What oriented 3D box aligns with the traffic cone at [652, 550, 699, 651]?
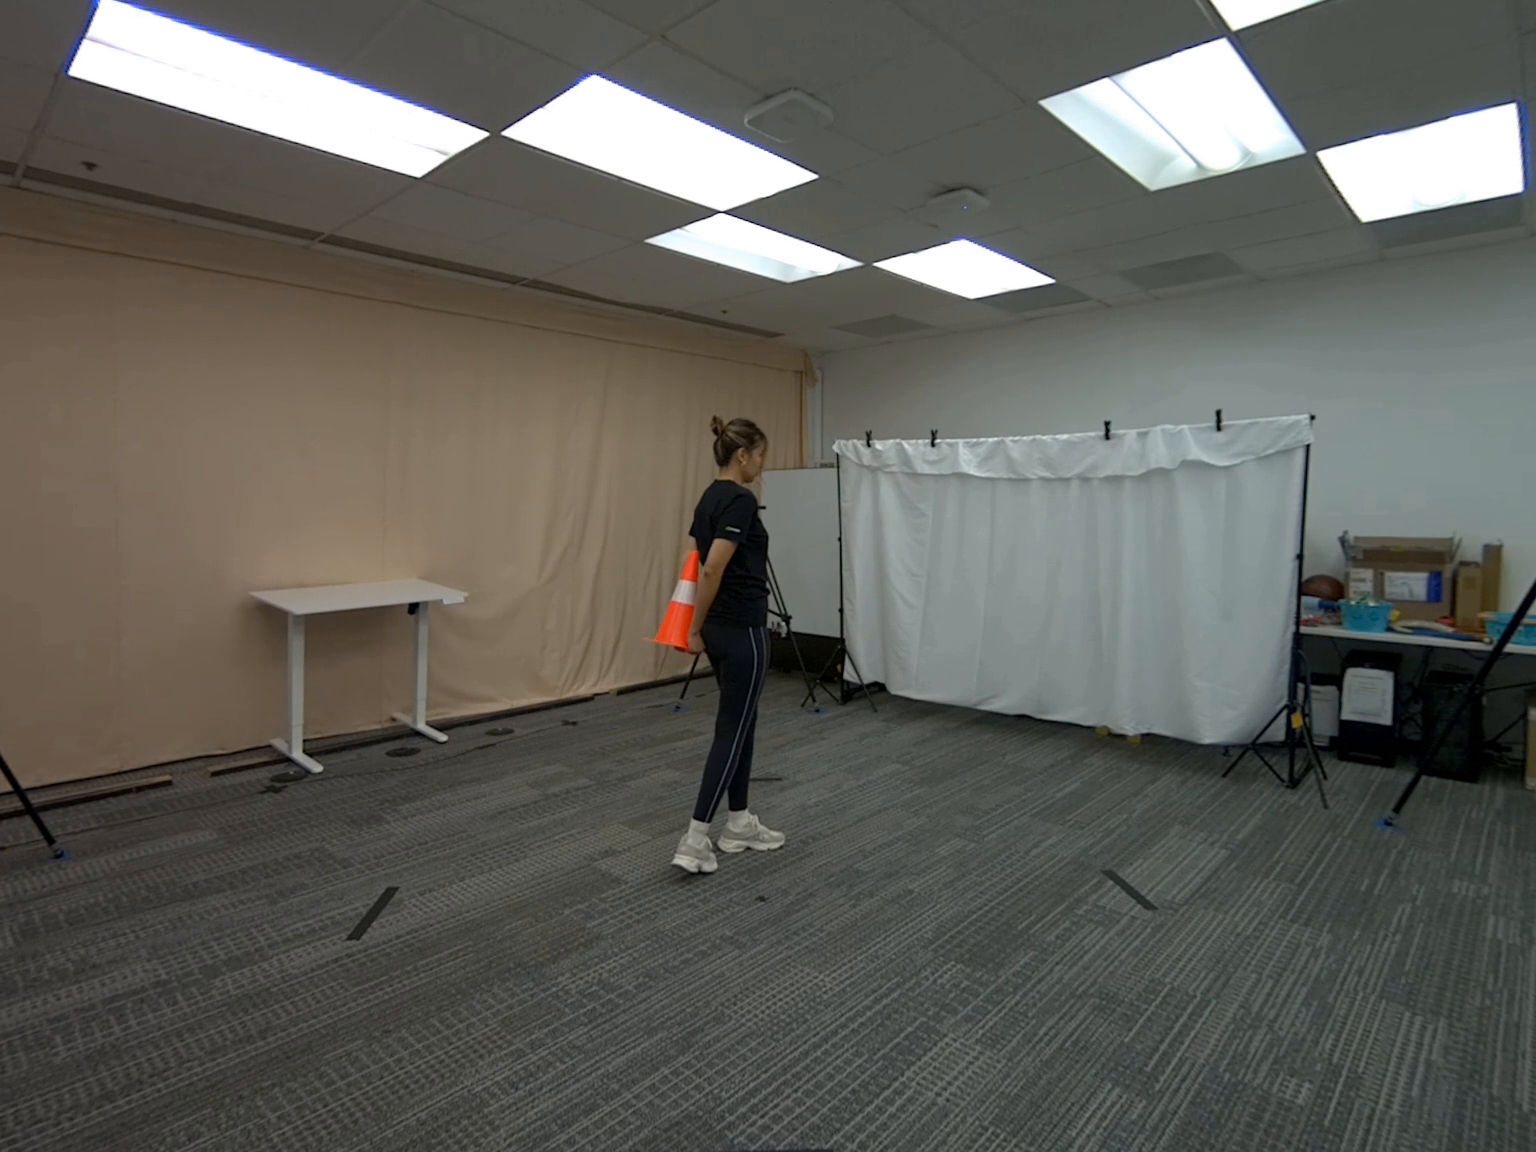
[{"bbox_3d":[-0.333,0.090,3.333,0.210,0.384,0.198,6,-6,45],"label":"traffic cone"}]
